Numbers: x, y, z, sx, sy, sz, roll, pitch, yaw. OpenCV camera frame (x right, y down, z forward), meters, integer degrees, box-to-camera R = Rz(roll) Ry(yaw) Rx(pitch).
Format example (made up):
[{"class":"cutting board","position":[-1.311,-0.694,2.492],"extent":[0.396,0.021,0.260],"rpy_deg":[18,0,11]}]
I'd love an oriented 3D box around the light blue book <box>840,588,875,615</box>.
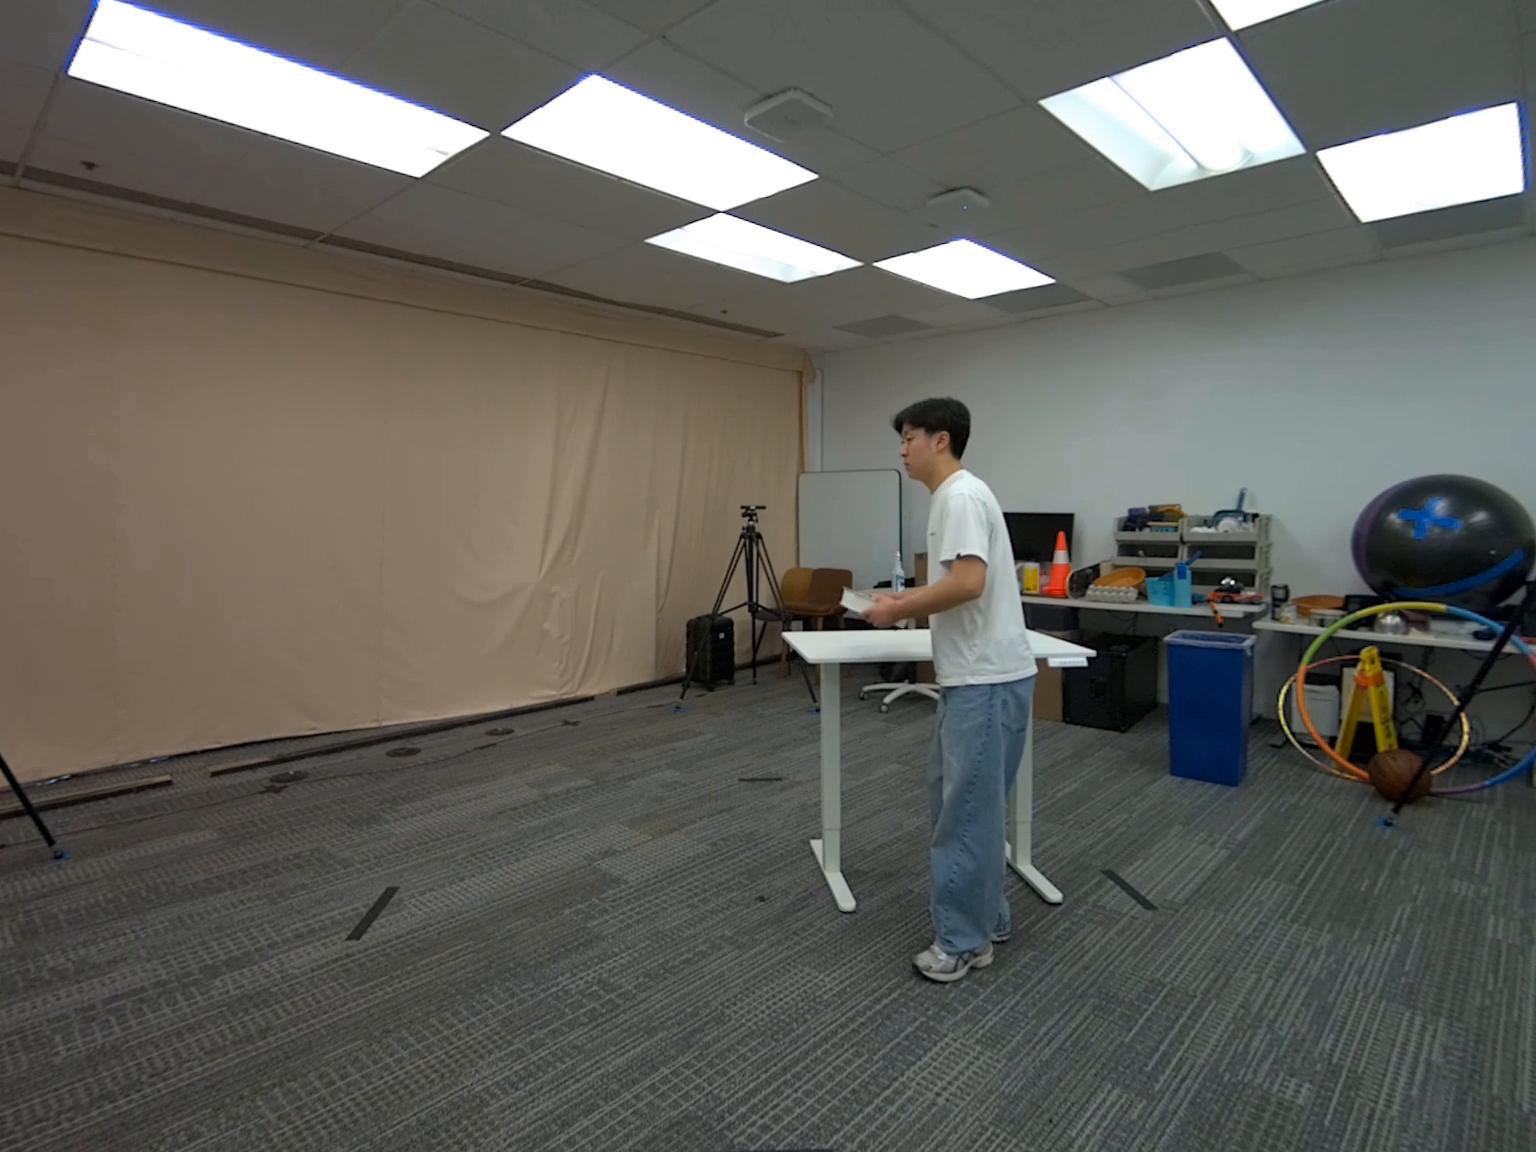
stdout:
[{"class":"light blue book","position":[0.357,0.086,2.754],"extent":[0.192,0.059,0.261],"rpy_deg":[21,3,0]}]
